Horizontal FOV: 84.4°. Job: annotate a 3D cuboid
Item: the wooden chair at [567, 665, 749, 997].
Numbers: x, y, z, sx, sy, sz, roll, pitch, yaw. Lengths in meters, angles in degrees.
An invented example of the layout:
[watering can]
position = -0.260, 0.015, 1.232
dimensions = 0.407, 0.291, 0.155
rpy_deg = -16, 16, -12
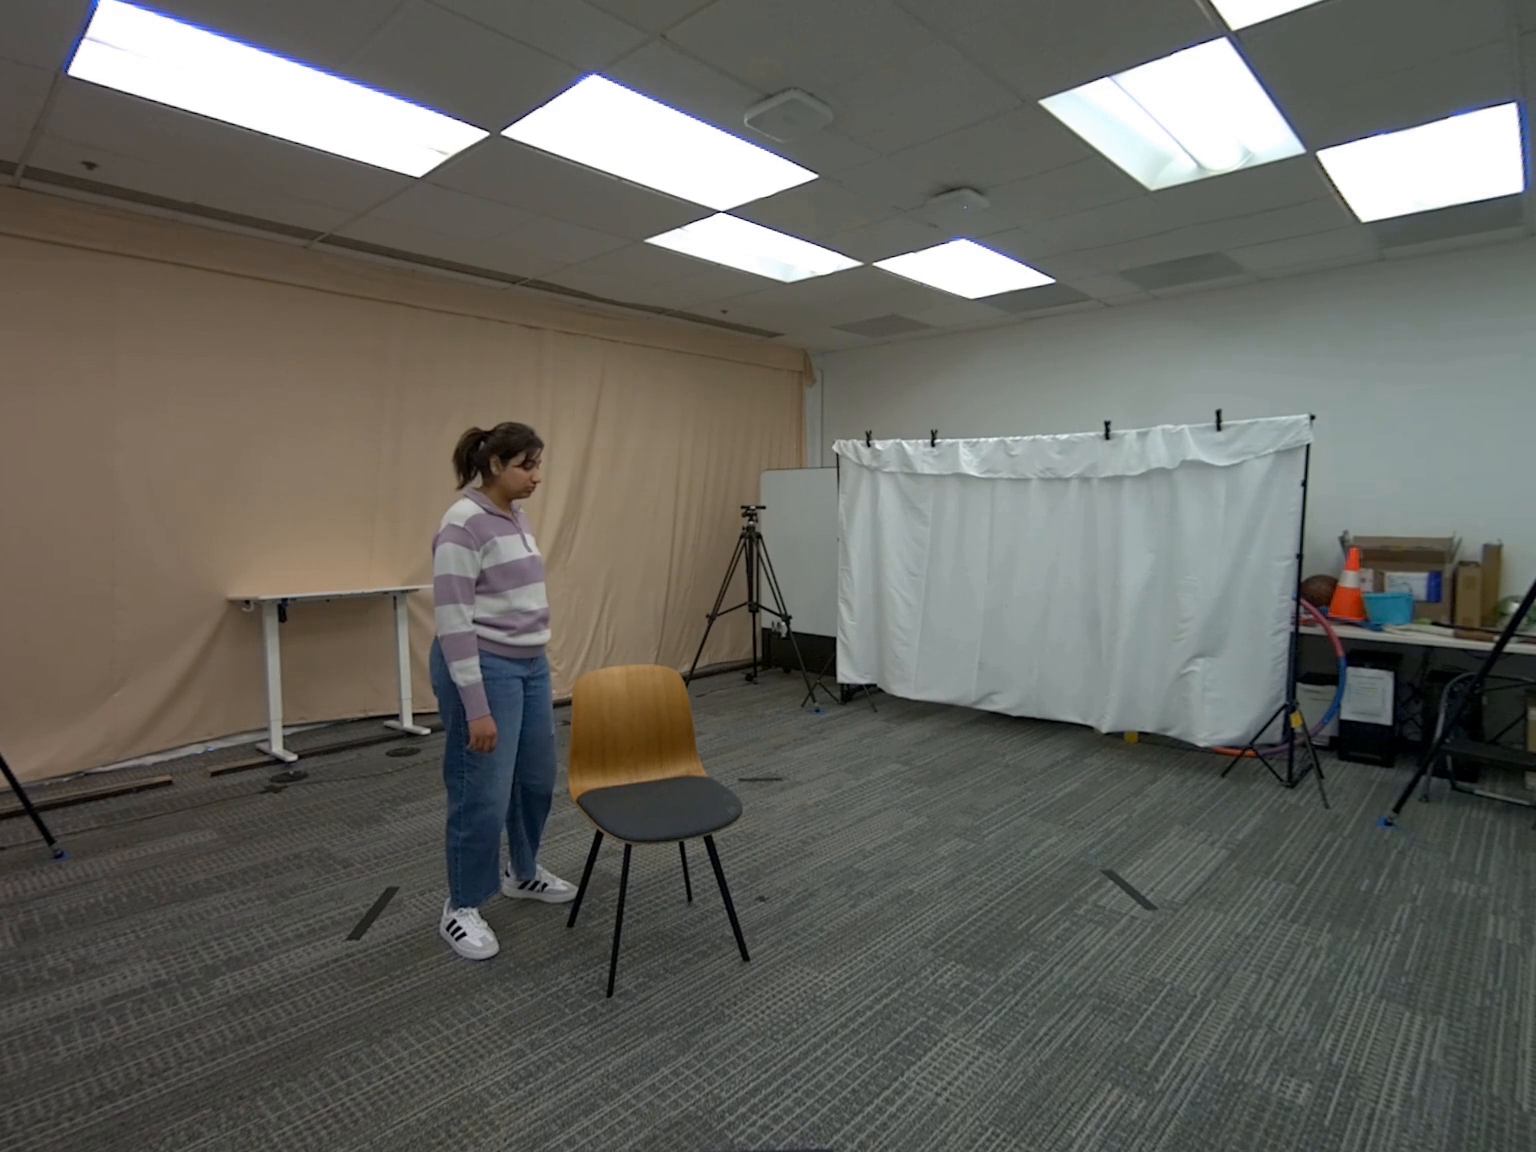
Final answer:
[wooden chair]
position = -0.357, 0.749, 2.642
dimensions = 0.466, 0.877, 0.536
rpy_deg = -2, 0, -27
